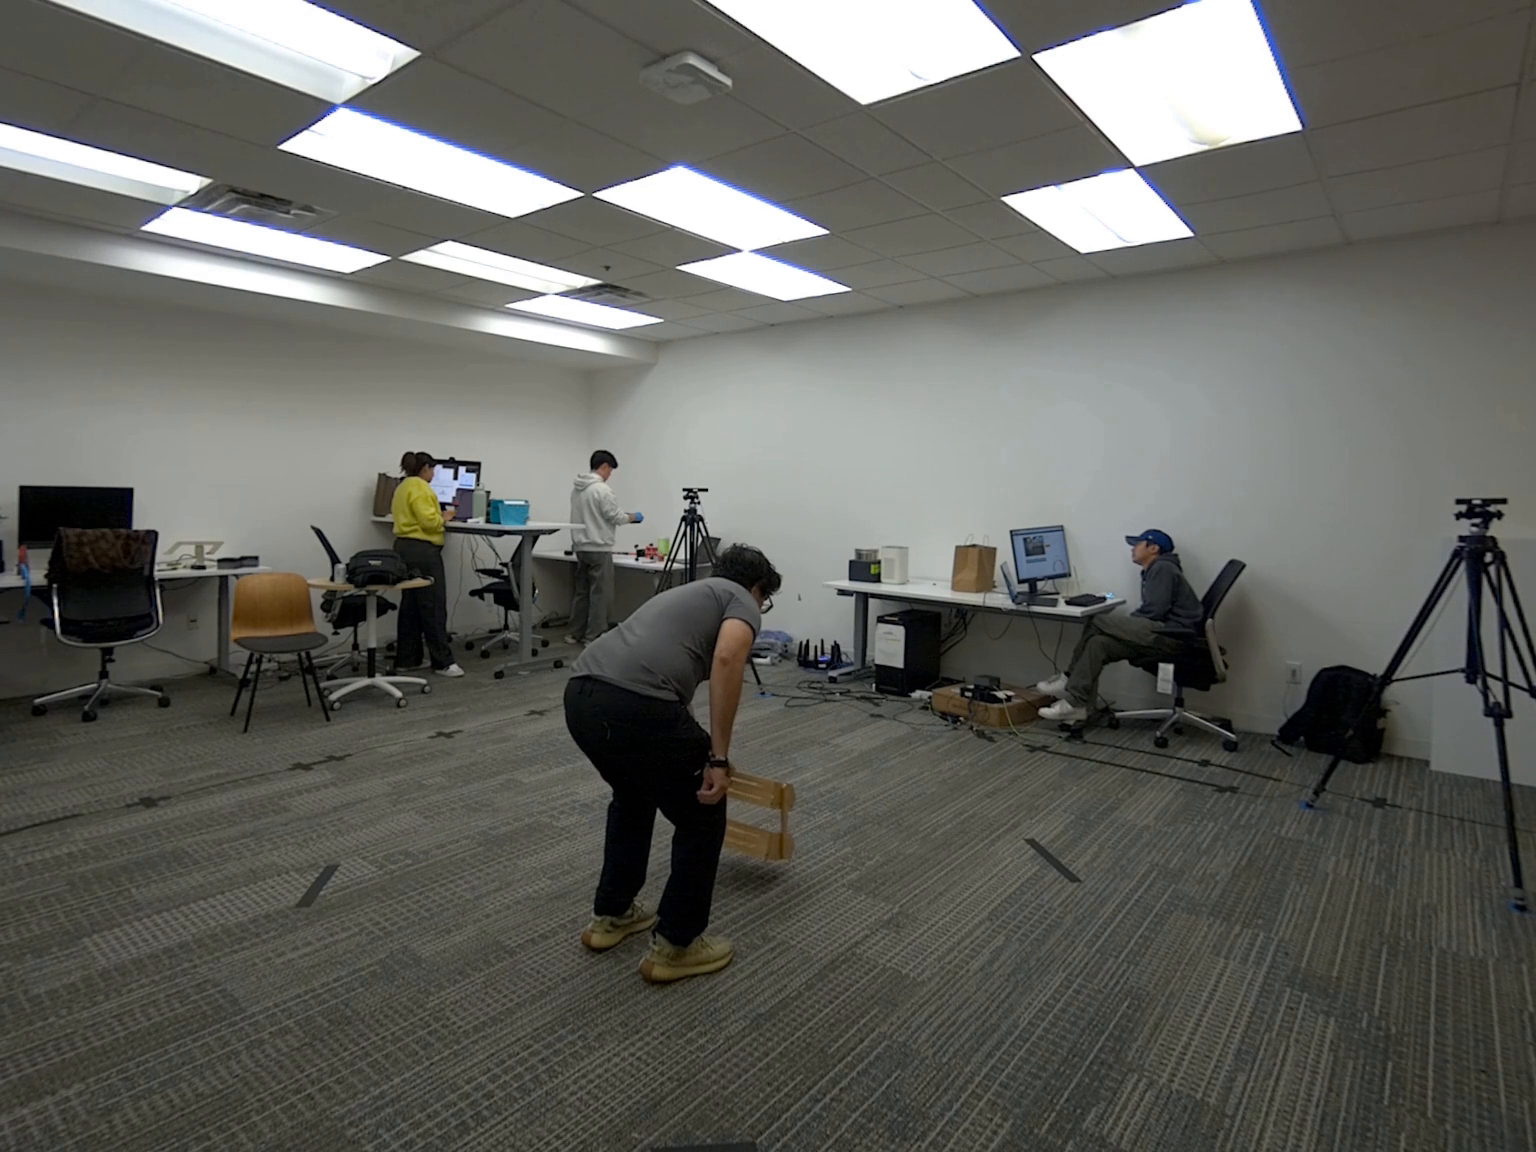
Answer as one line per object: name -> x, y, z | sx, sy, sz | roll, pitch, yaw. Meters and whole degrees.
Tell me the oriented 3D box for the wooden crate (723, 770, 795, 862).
wooden crate -> -0.086, 0.844, 3.069 | 0.334, 0.276, 0.291 | 6, -14, 26
